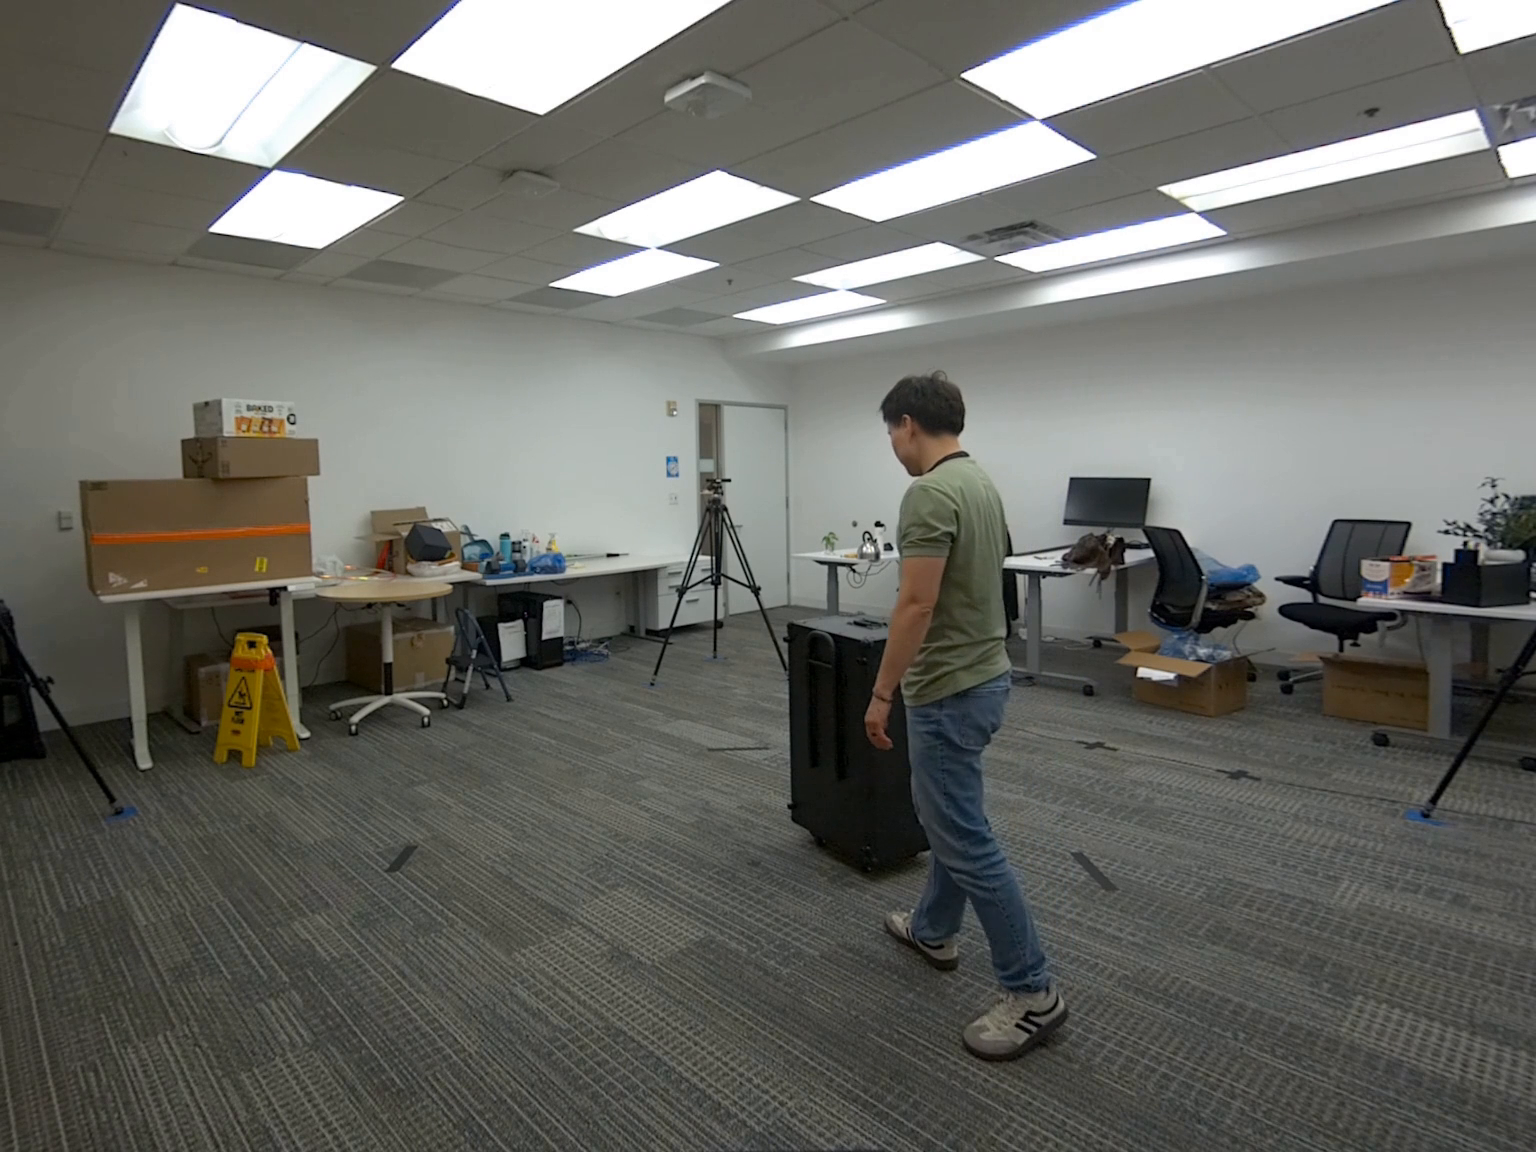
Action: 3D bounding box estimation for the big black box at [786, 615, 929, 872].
[{"bbox_3d":[0.352,0.608,3.158,0.387,0.858,0.536,-4,5,-31],"label":"big black box"}]
